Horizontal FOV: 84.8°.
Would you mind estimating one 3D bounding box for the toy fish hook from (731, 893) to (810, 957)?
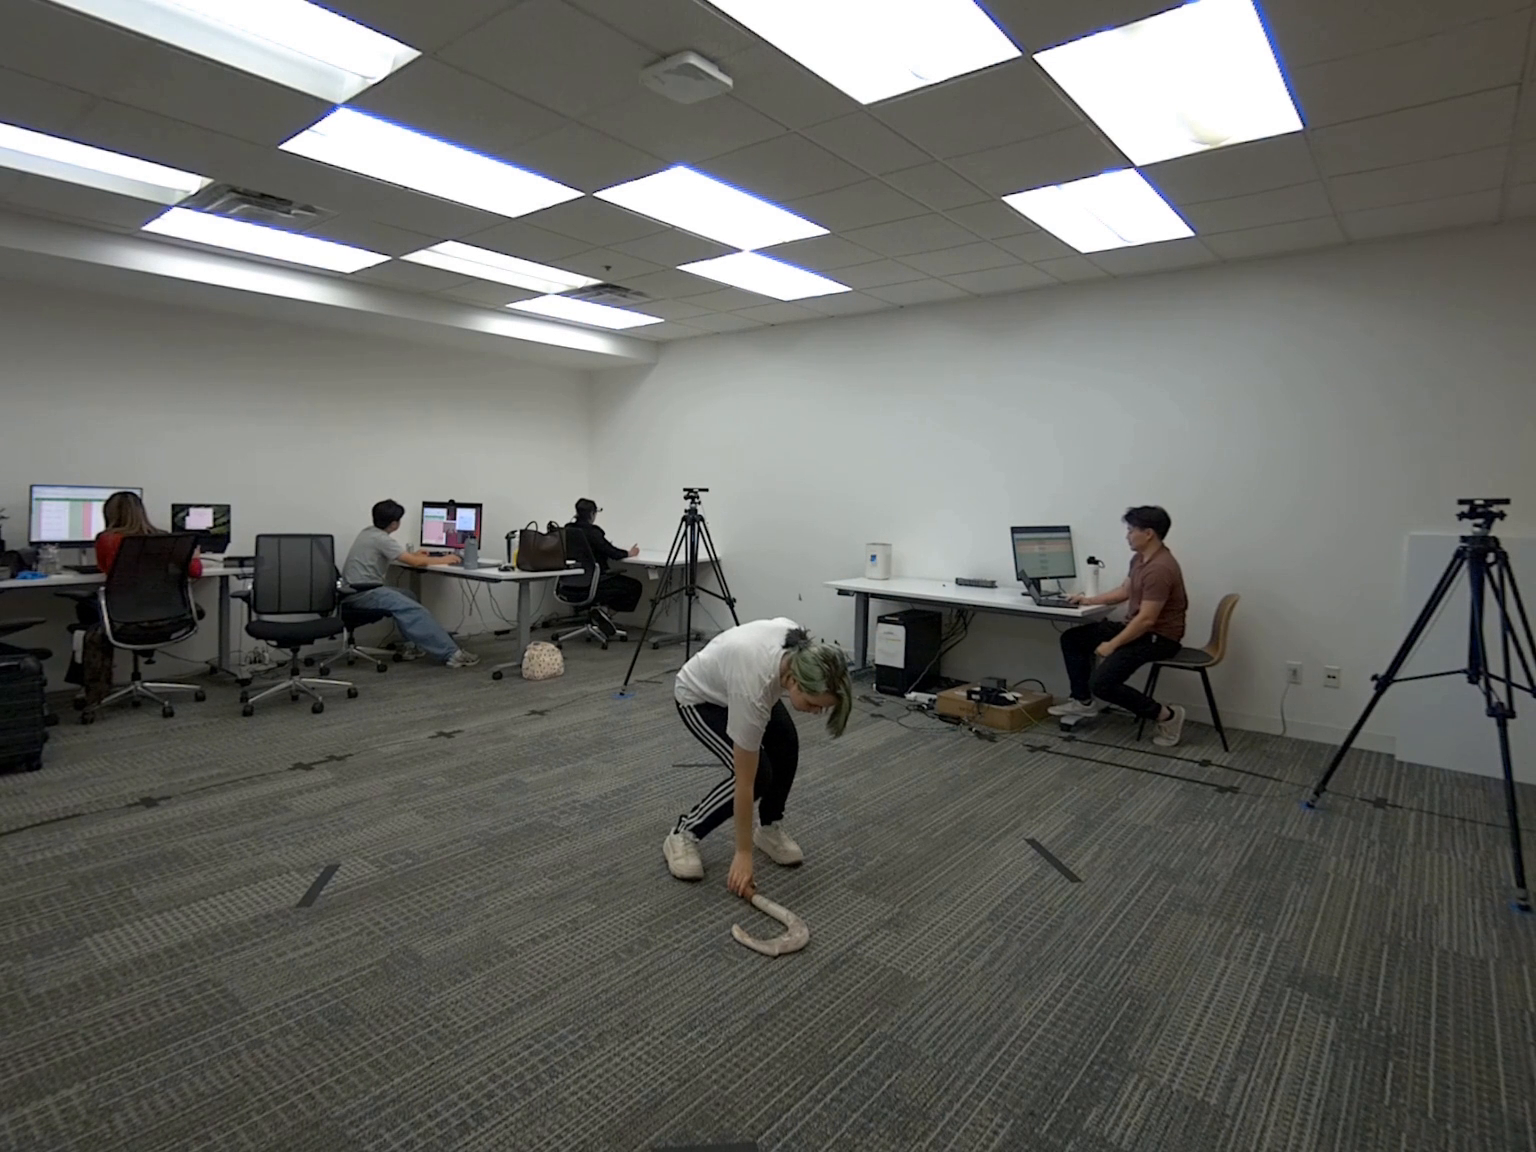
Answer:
[{"bbox_3d":[-0.066,1.078,2.767,0.219,0.048,0.521,1,5,-27],"label":"toy fish hook"}]
